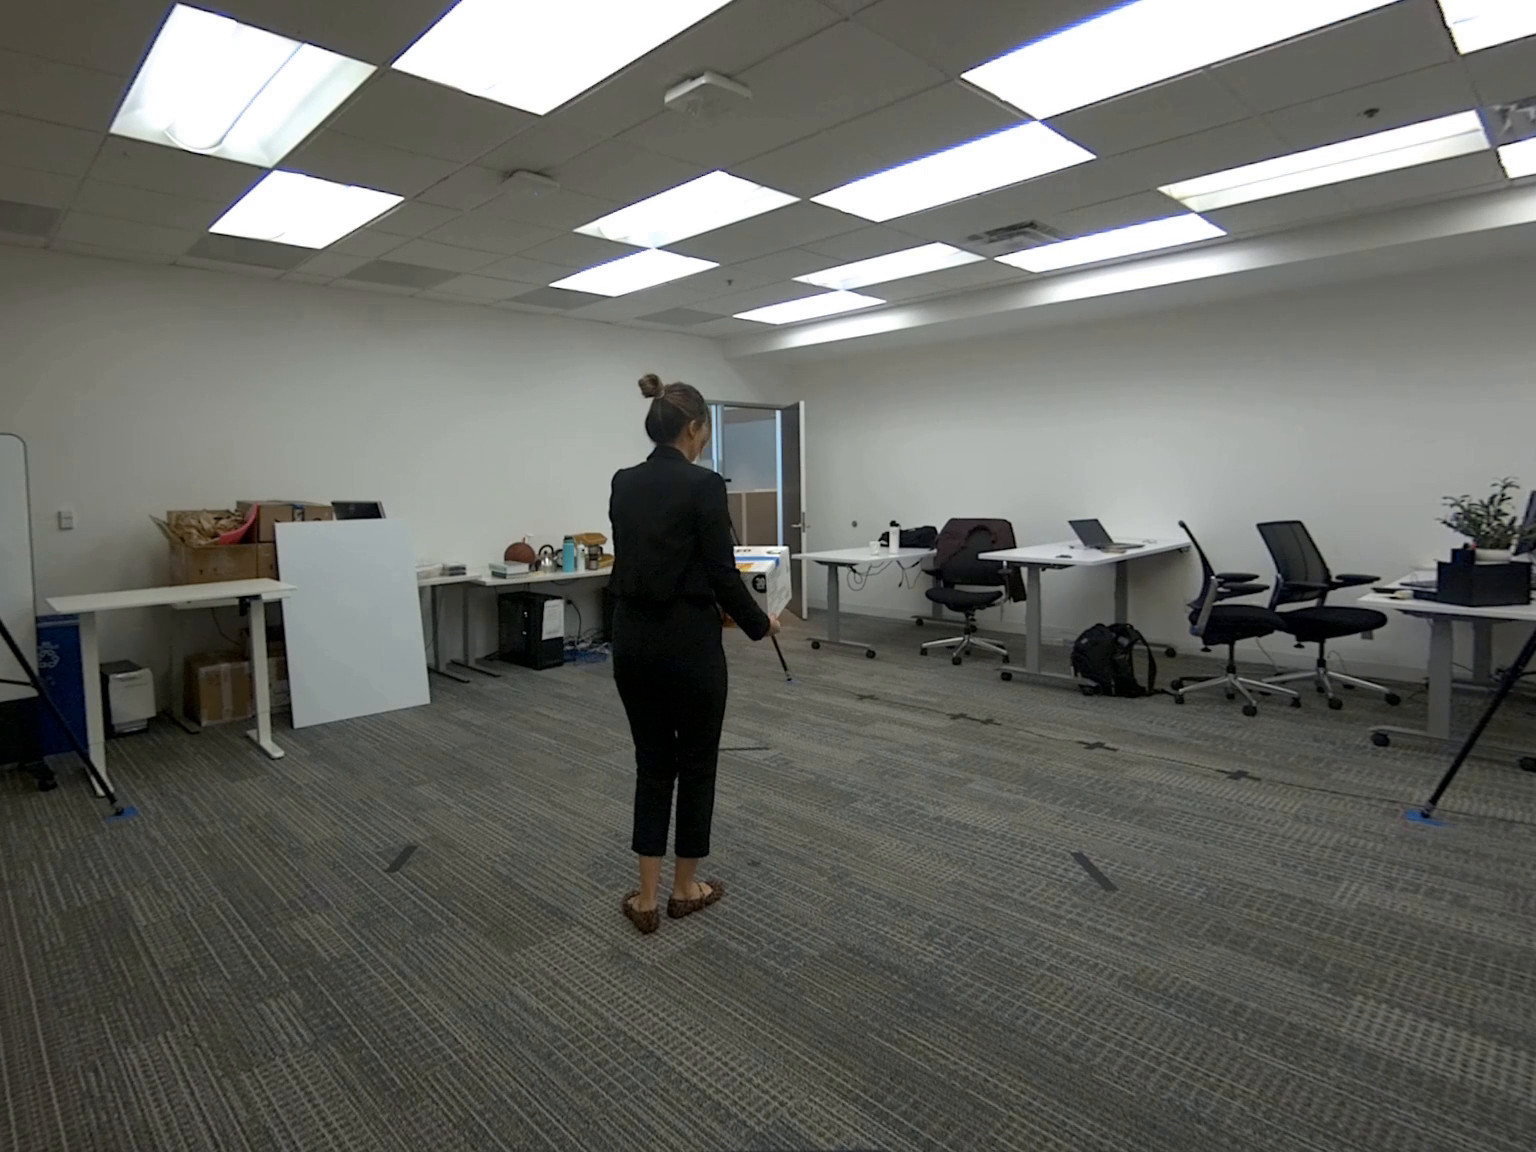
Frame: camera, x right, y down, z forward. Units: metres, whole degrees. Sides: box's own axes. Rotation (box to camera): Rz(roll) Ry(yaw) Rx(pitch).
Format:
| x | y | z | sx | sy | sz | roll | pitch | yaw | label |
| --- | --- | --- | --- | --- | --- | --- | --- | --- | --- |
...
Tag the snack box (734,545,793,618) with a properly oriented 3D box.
| x | y | z | sx | sy | sz | roll | pitch | yaw | label |
| --- | --- | --- | --- | --- | --- | --- | --- | --- | --- |
| -0.152 | 0.036 | 3.028 | 0.411 | 0.203 | 0.340 | 0 | 16 | 16 | snack box |
